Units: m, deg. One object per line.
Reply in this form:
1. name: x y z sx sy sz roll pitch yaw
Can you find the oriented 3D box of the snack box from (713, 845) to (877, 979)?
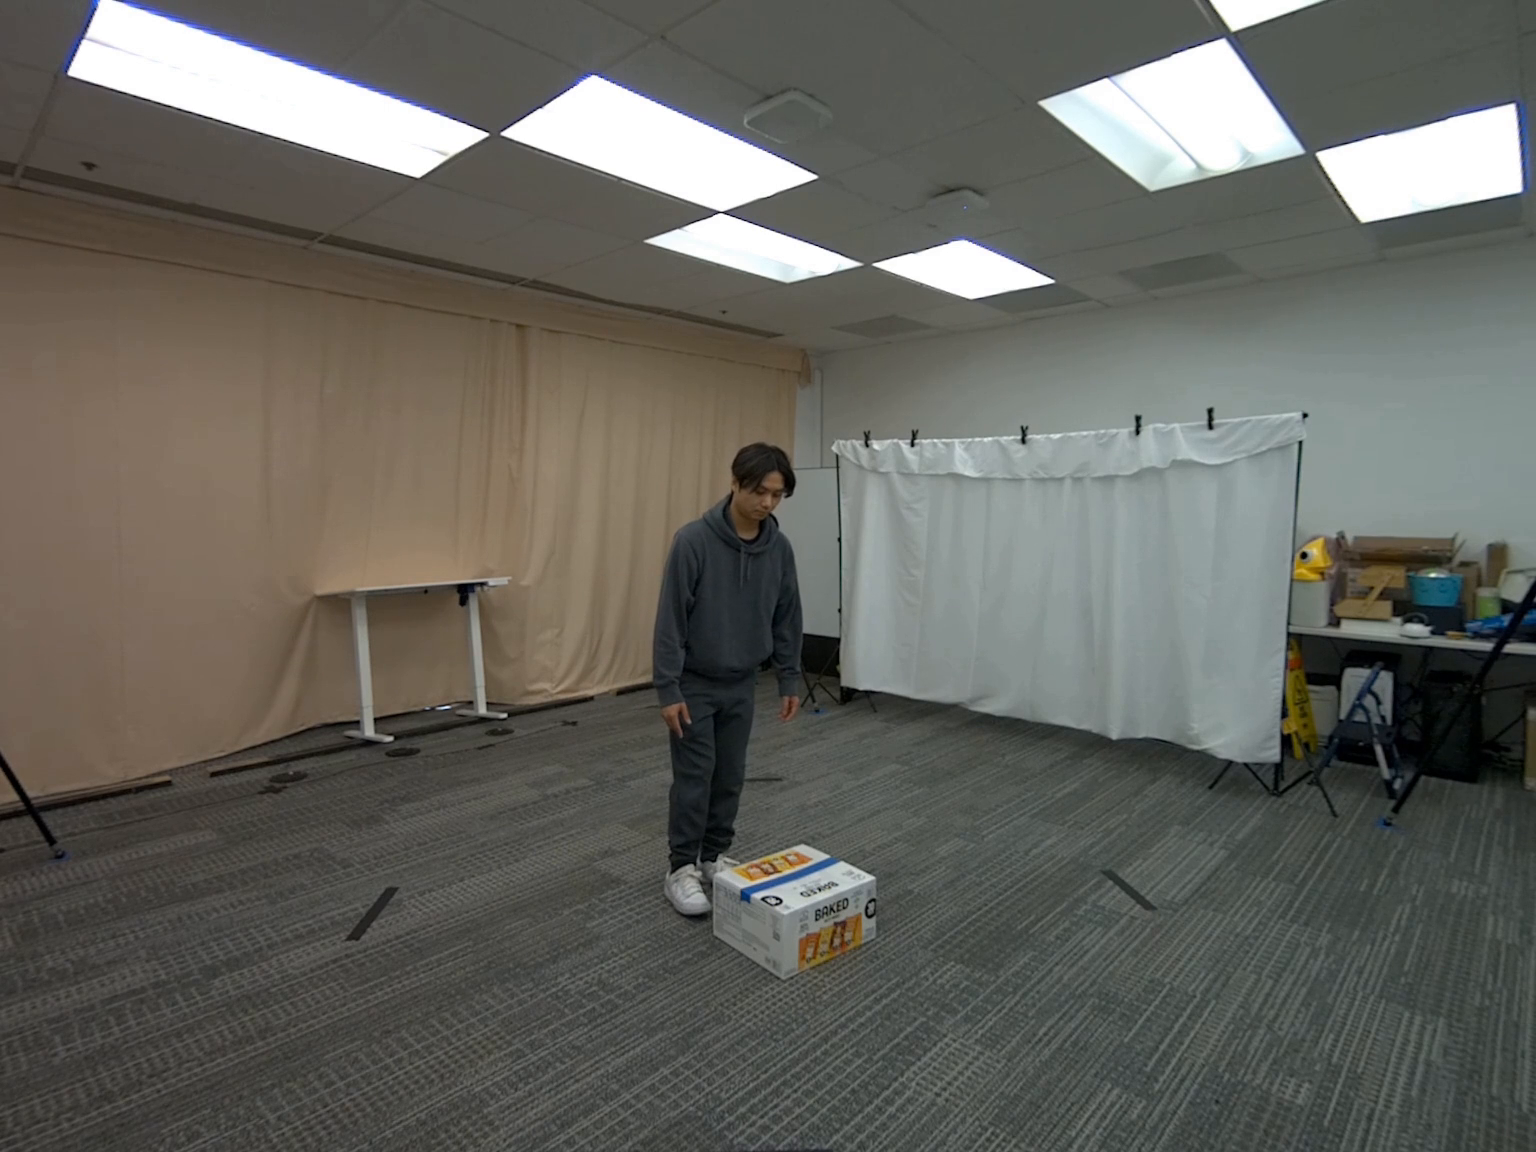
1. snack box: 0.090 1.068 2.707 0.393 0.205 0.351 -4 5 -40
